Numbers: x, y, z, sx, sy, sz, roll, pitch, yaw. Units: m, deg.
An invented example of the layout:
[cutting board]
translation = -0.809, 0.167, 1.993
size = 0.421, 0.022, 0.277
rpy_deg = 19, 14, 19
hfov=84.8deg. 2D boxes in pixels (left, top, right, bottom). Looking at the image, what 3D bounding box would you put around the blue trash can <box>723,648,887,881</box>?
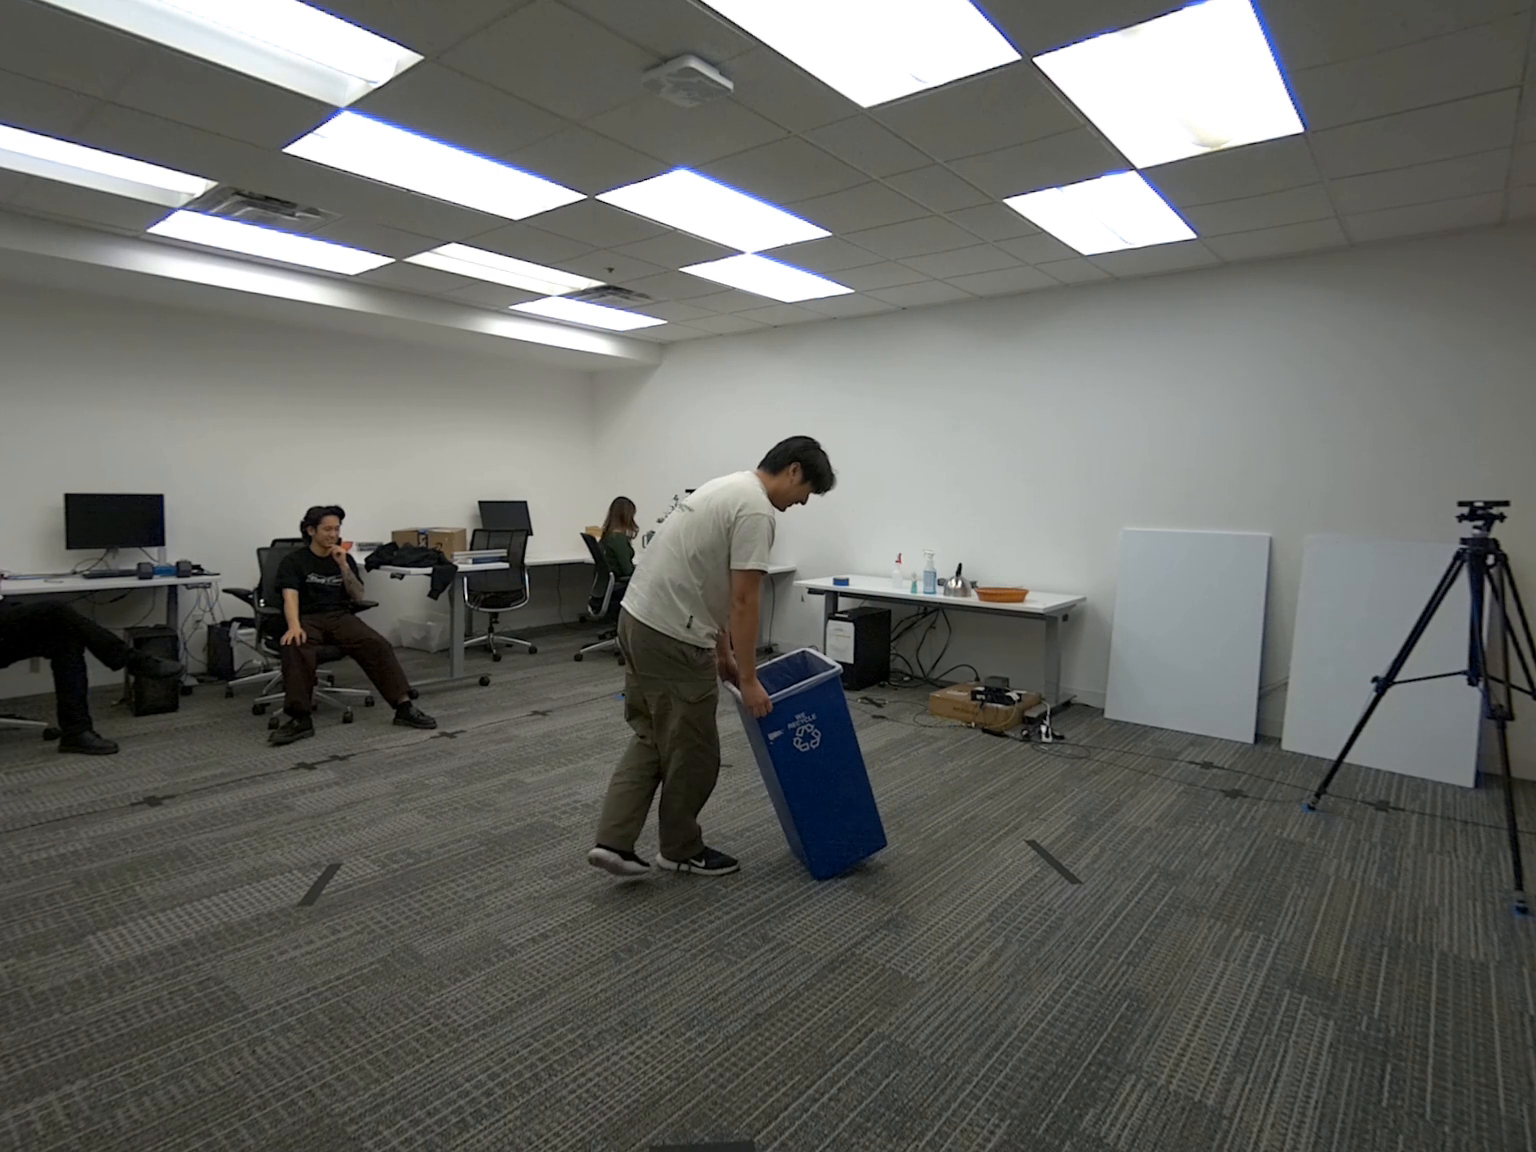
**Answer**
[blue trash can]
translation = 0.152, 0.690, 3.163
size = 0.371, 0.705, 0.386
rpy_deg = -21, 10, -14
